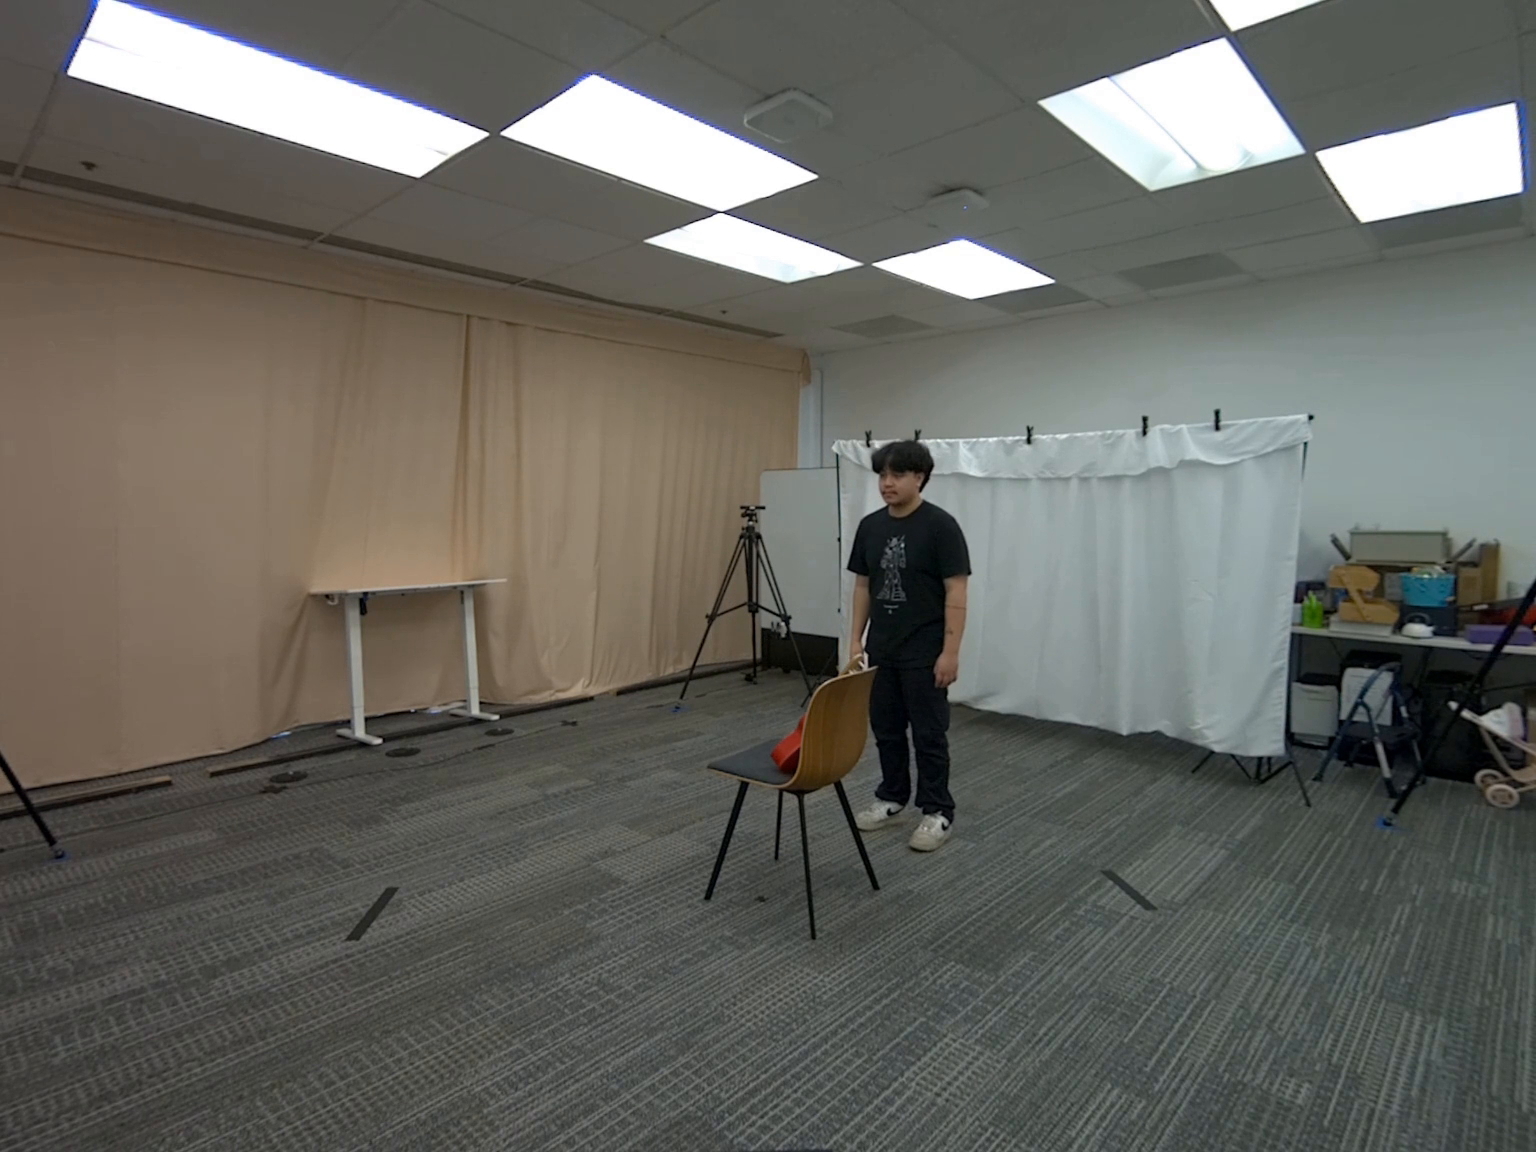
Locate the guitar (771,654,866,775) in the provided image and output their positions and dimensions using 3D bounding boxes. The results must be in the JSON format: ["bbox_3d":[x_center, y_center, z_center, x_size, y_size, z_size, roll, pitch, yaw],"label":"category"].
[{"bbox_3d":[0.176,0.469,2.851,0.187,0.497,0.073,-6,44,-48],"label":"guitar"}]
